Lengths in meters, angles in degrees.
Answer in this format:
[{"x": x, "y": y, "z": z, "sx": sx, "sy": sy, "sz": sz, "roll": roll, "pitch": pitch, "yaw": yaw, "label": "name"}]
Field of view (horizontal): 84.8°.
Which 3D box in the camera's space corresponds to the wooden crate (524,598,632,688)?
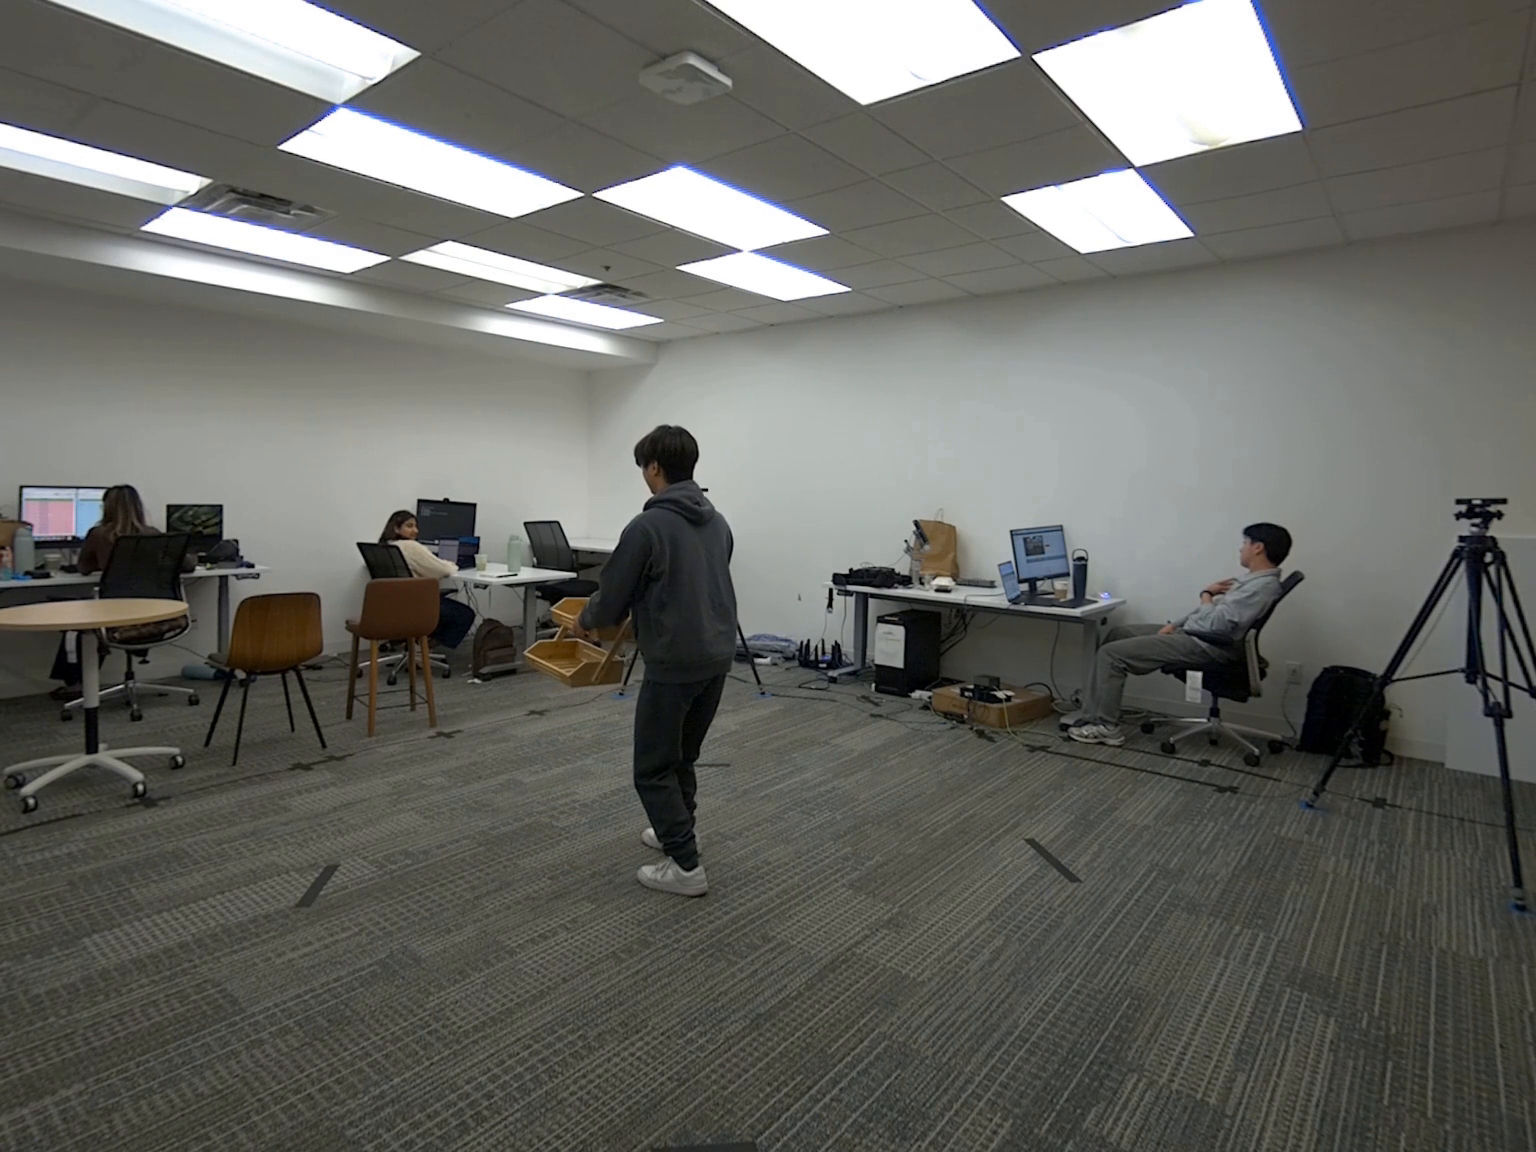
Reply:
[{"x": -0.724, "y": 0.238, "z": 3.236, "sx": 0.337, "sy": 0.272, "sz": 0.292, "roll": 15, "pitch": 7, "yaw": 41, "label": "wooden crate"}]
